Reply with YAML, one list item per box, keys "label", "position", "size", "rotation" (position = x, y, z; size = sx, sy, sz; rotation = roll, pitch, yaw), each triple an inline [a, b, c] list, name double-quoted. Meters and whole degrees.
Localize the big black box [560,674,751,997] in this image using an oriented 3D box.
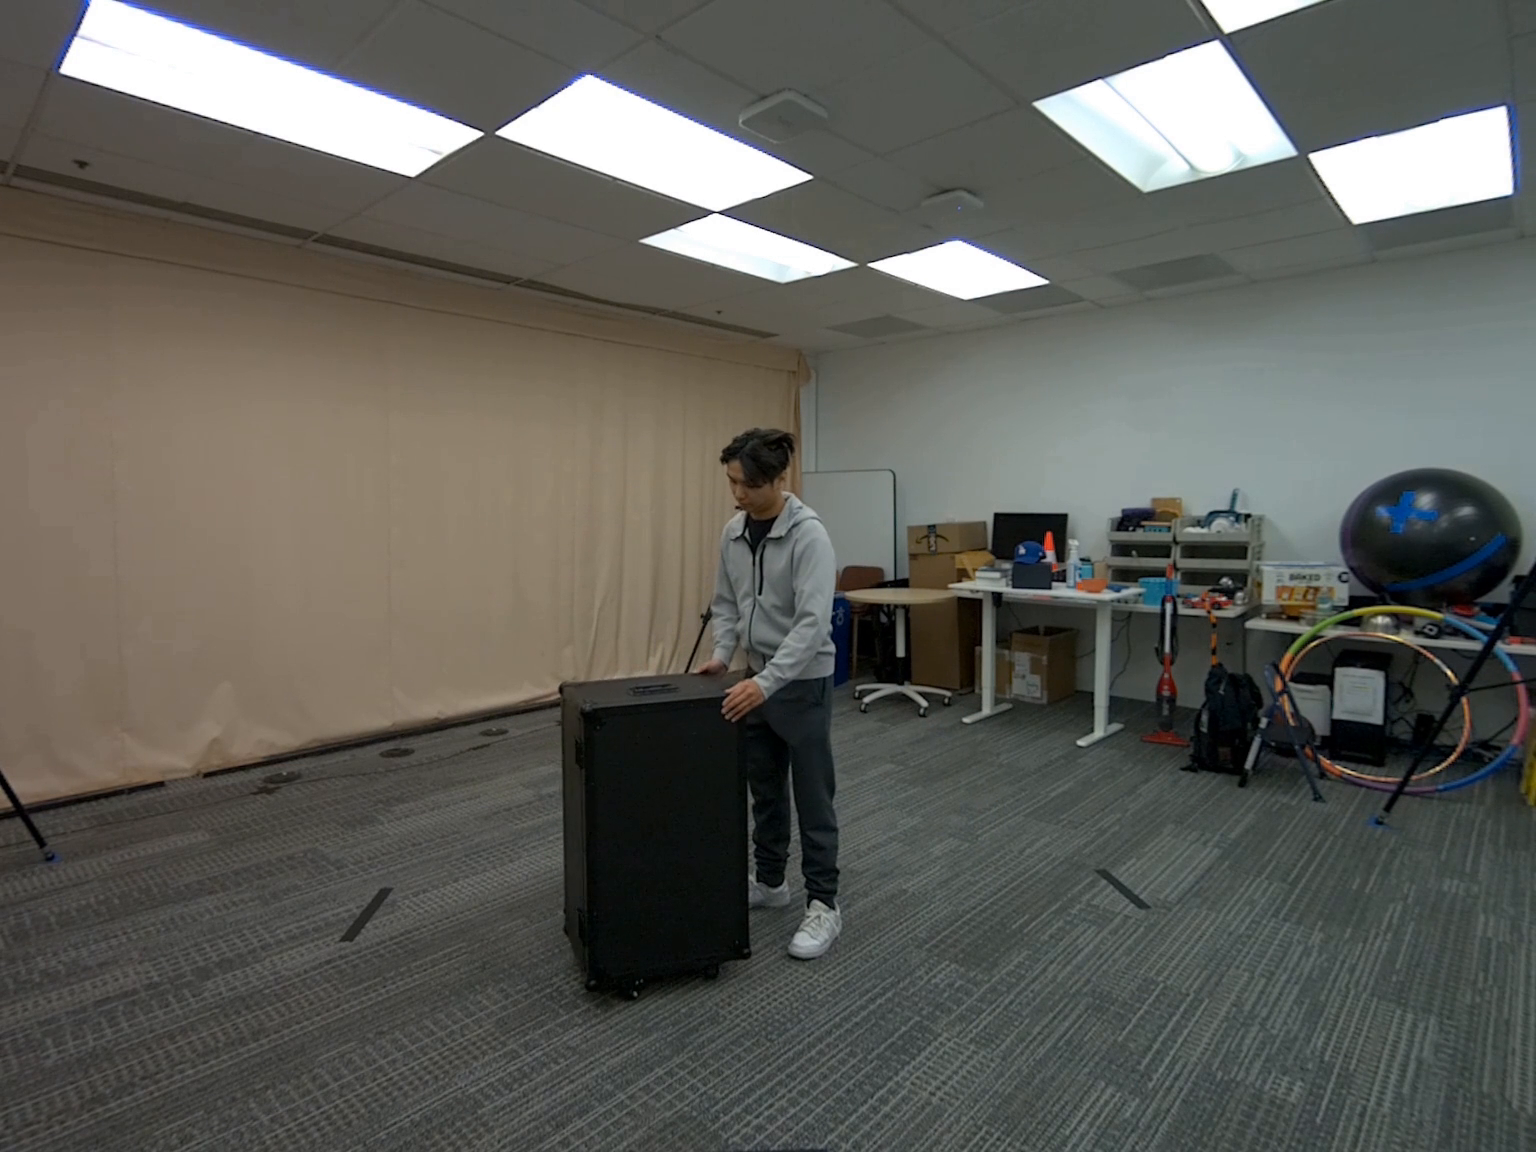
- label: "big black box"
  position: [-0.358, 0.760, 2.527]
  size: [0.510, 0.860, 0.405]
  rotation: [-1, 2, -22]
